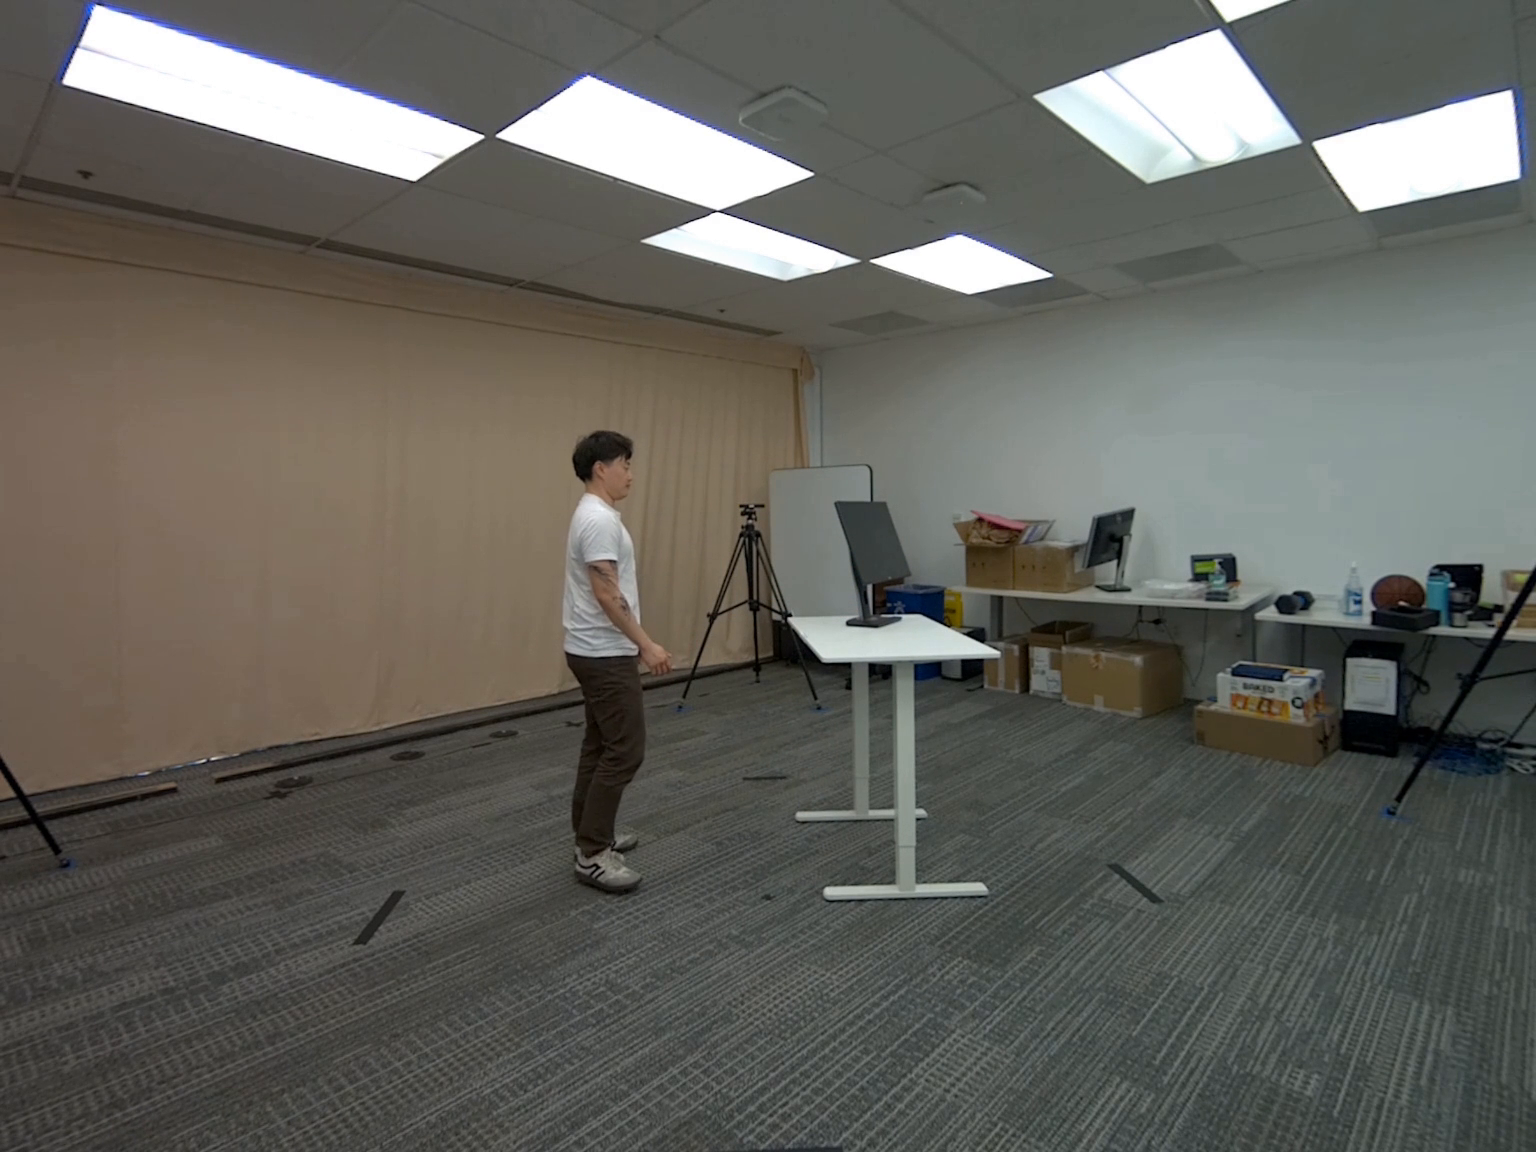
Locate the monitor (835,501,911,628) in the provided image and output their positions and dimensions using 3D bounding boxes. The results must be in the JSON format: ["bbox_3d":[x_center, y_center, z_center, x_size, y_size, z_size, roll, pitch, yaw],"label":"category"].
[{"bbox_3d":[0.430,-0.053,3.575,0.192,0.522,0.526,-4,2,27],"label":"monitor"}]
